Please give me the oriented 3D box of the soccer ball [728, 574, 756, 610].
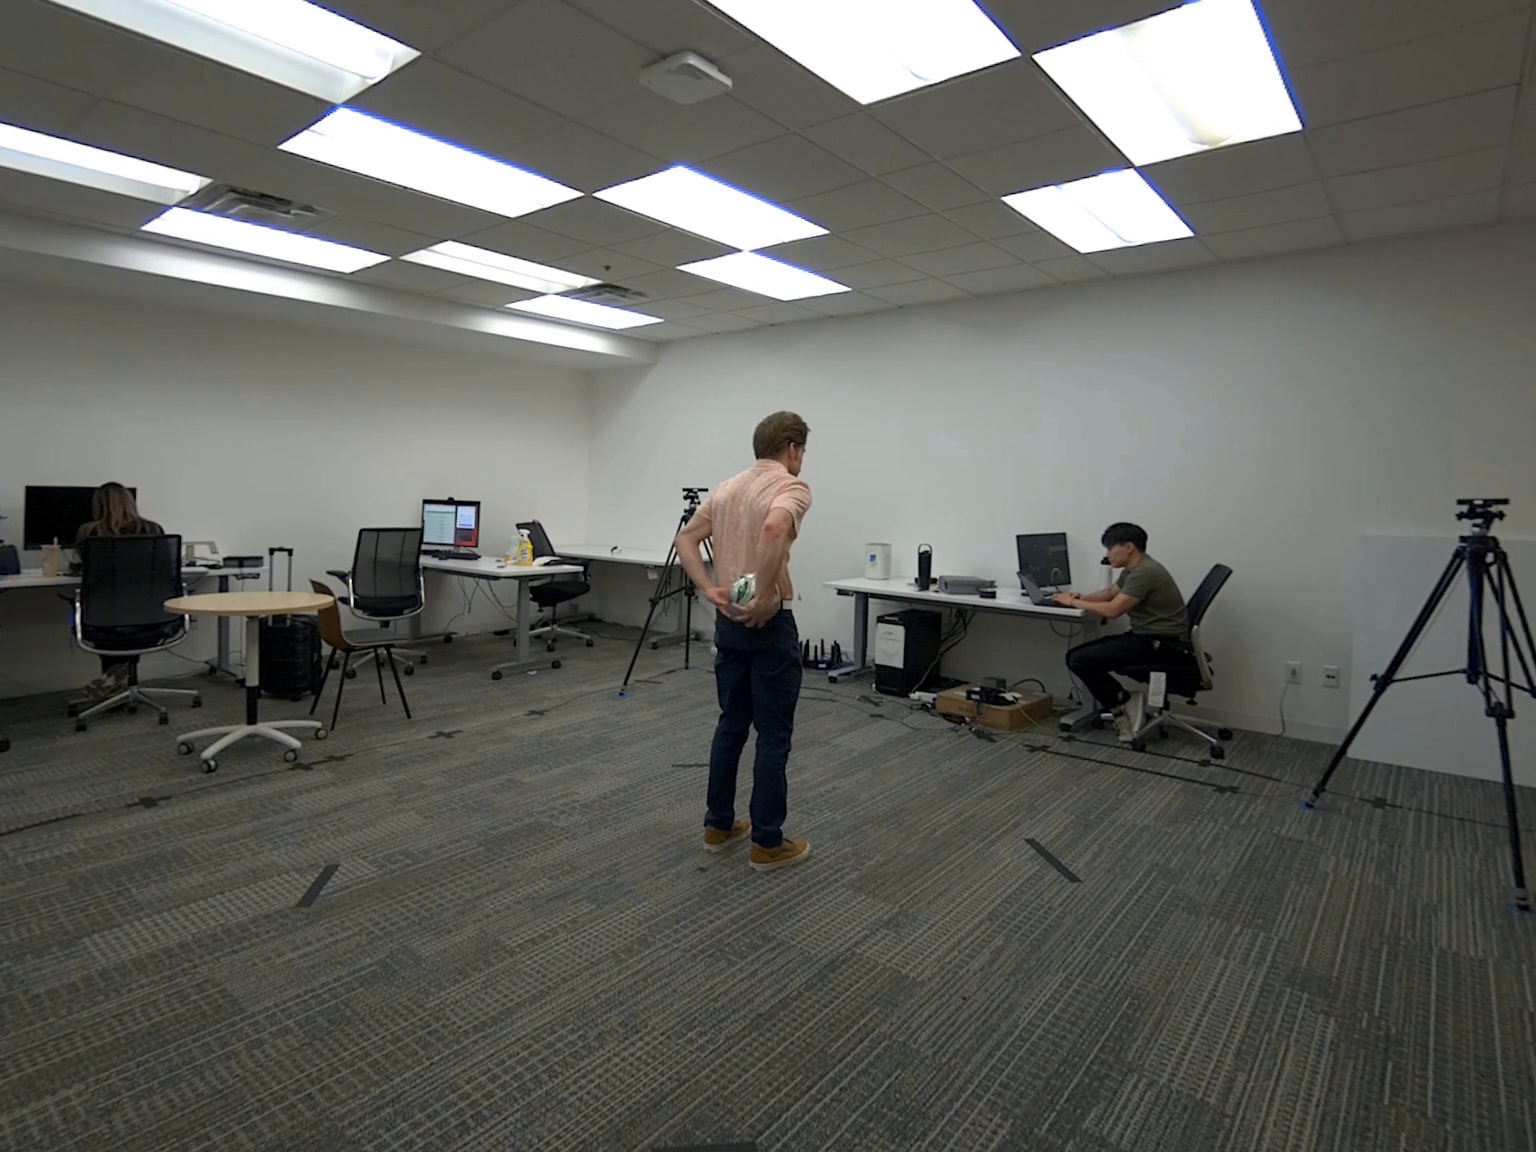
[{"bbox_3d":[-0.063,0.071,3.025,0.187,0.187,0.188,1,4,-2],"label":"soccer ball"}]
